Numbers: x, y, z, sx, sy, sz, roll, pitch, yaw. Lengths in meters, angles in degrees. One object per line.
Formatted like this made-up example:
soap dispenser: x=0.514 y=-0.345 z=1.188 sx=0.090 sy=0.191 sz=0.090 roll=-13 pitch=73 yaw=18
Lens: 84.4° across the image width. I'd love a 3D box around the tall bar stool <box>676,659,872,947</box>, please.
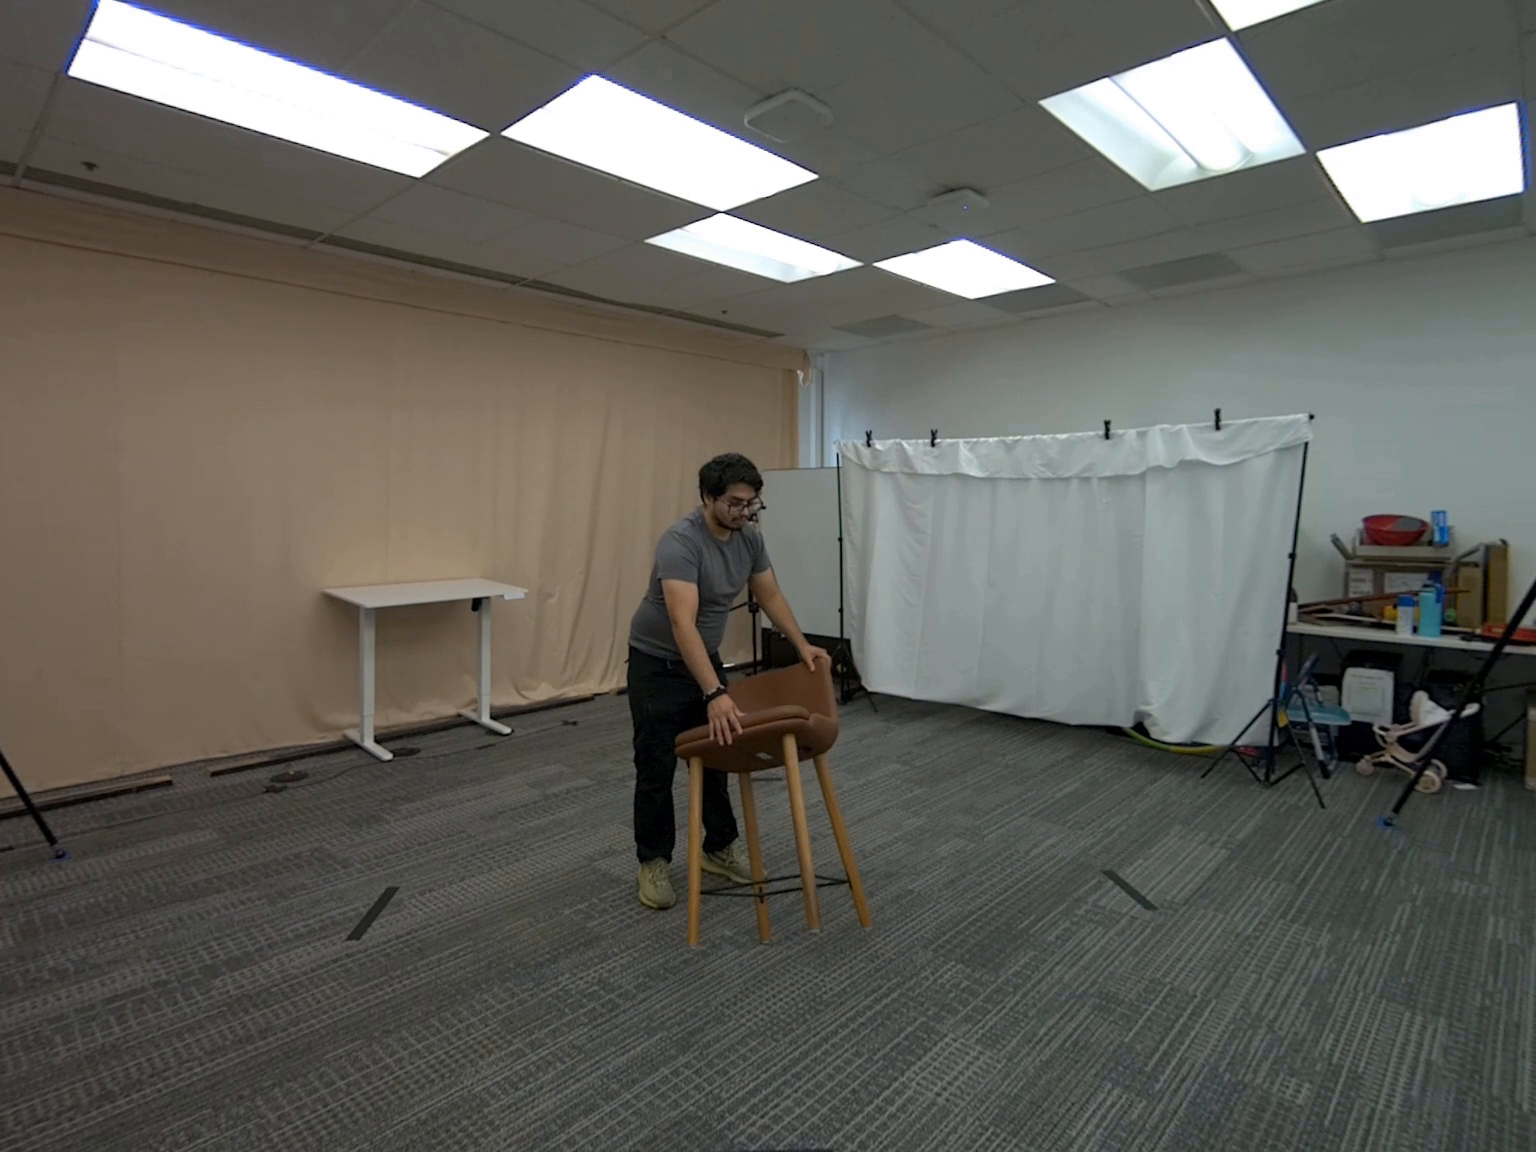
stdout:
tall bar stool: x=0.006 y=0.661 z=2.637 sx=0.464 sy=0.906 sz=0.451 roll=-20 pitch=-29 yaw=23
